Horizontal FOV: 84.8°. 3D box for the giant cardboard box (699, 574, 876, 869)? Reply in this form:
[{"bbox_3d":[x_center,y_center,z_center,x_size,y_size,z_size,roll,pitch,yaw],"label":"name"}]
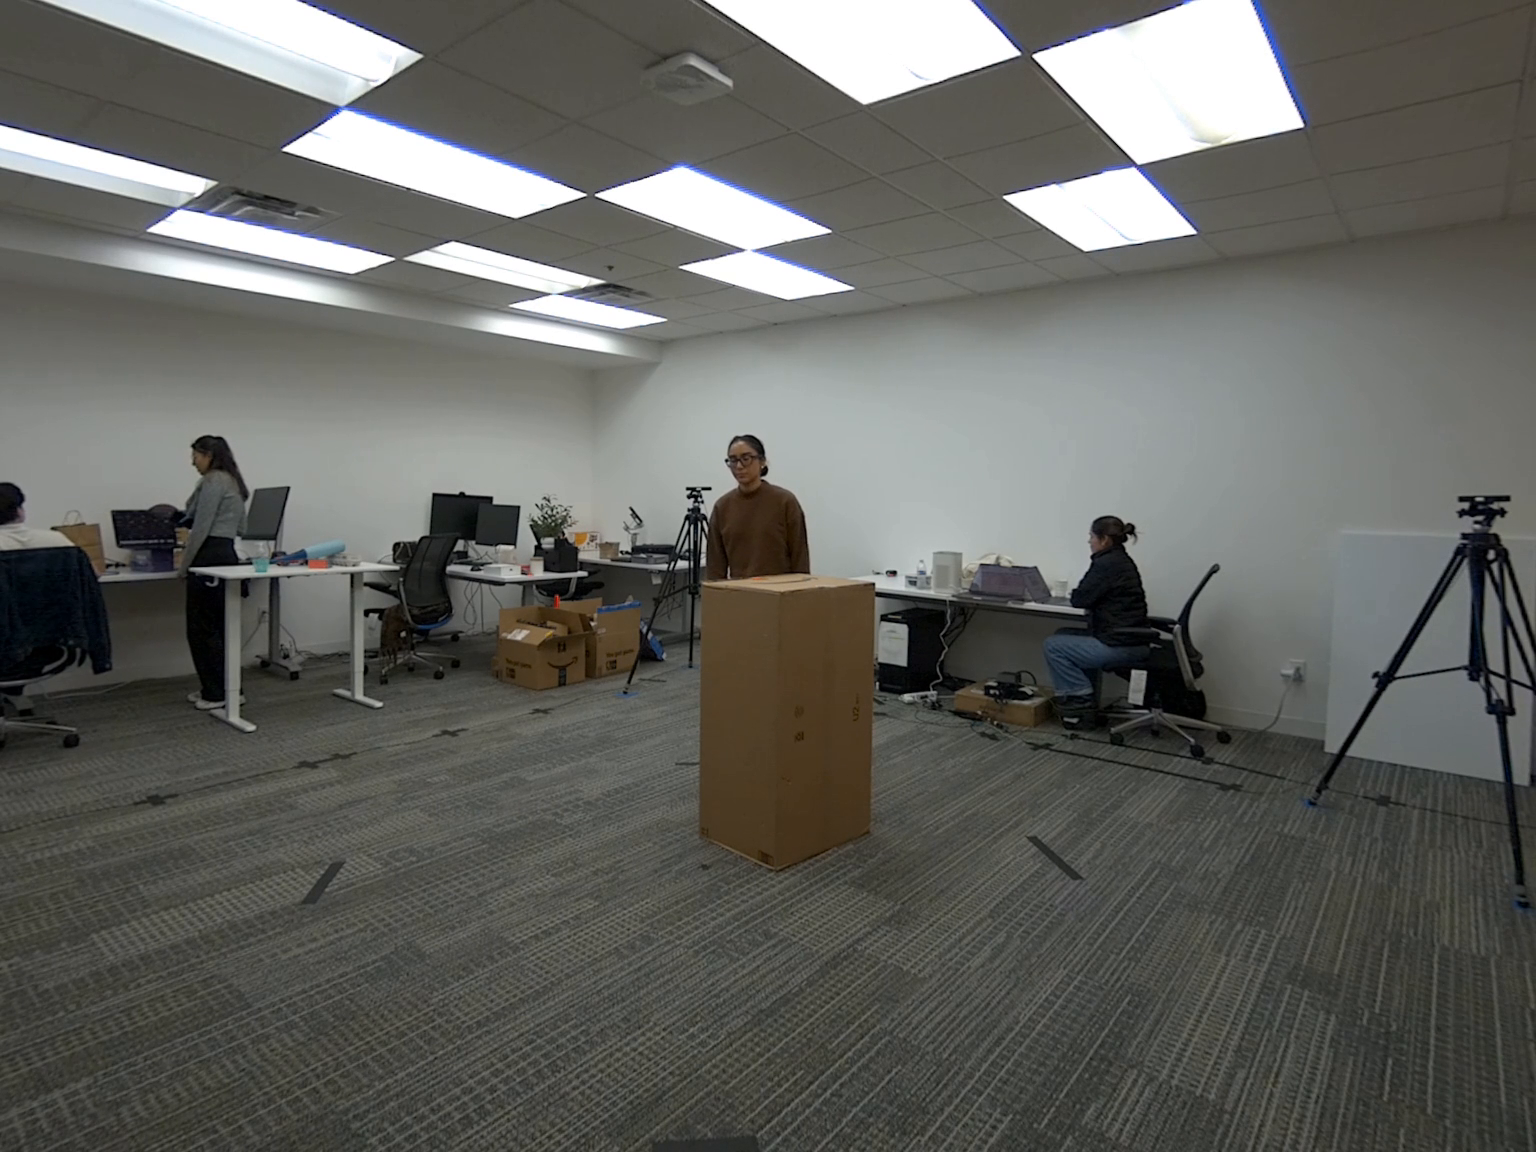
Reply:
[{"bbox_3d":[0.071,0.533,3.411,0.441,1.023,0.560,4,5,44],"label":"giant cardboard box"}]
